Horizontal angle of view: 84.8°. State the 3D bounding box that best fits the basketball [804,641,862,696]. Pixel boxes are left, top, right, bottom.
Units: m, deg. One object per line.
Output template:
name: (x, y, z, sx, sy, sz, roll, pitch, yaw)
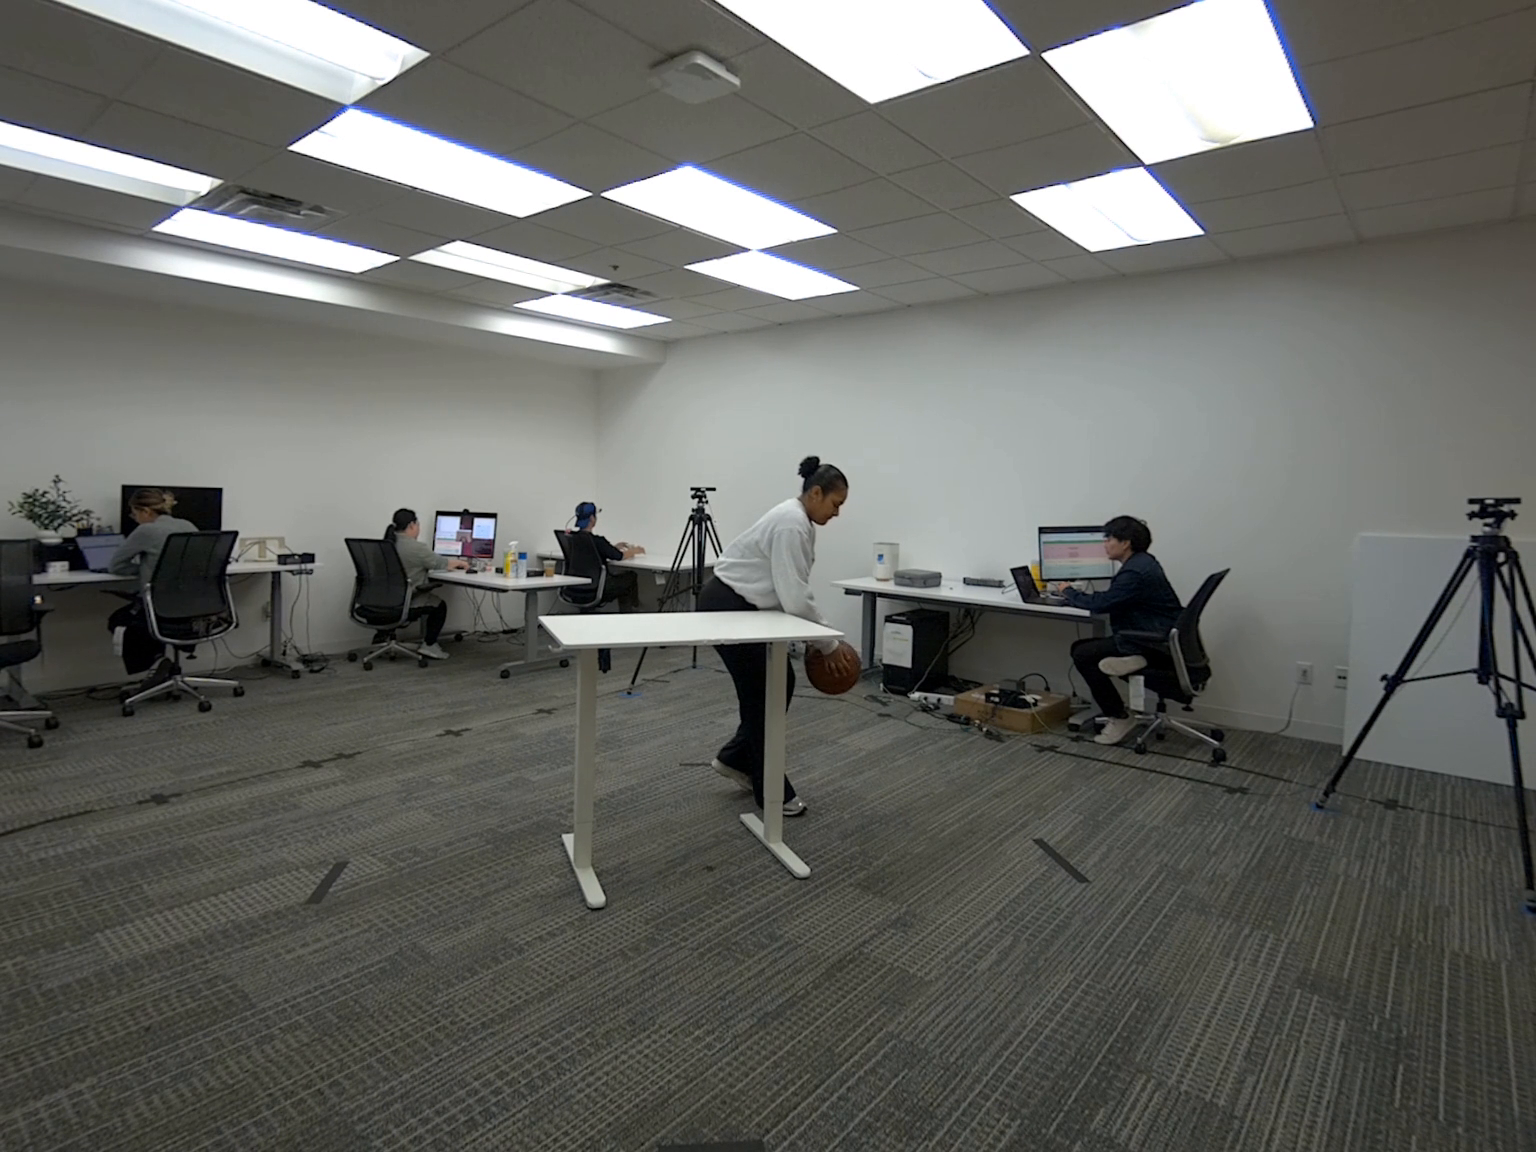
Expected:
basketball: (0.253, 0.379, 3.666, 0.235, 0.235, 0.237, 1, 4, -2)
